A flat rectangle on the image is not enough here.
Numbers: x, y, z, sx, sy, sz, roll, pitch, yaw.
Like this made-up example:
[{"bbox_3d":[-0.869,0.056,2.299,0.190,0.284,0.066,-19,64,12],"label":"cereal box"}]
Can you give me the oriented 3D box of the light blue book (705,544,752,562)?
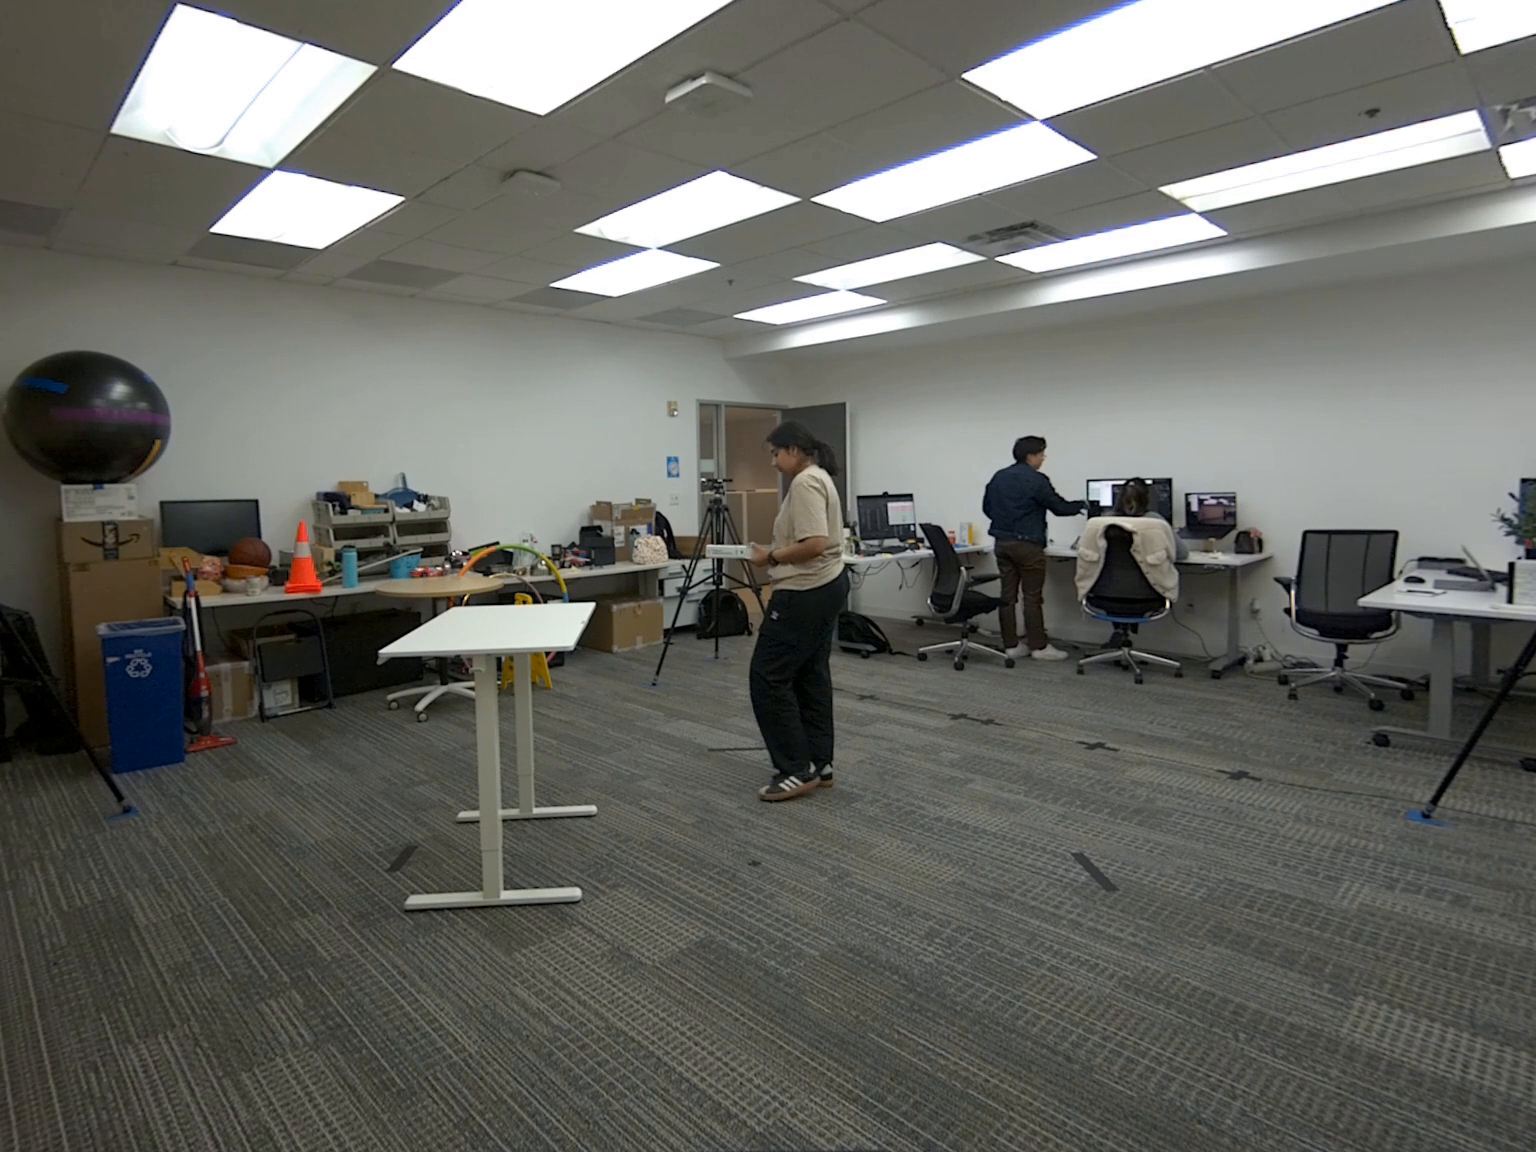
[{"bbox_3d":[-0.118,-0.114,3.935,0.269,0.059,0.186,2,4,40],"label":"light blue book"}]
